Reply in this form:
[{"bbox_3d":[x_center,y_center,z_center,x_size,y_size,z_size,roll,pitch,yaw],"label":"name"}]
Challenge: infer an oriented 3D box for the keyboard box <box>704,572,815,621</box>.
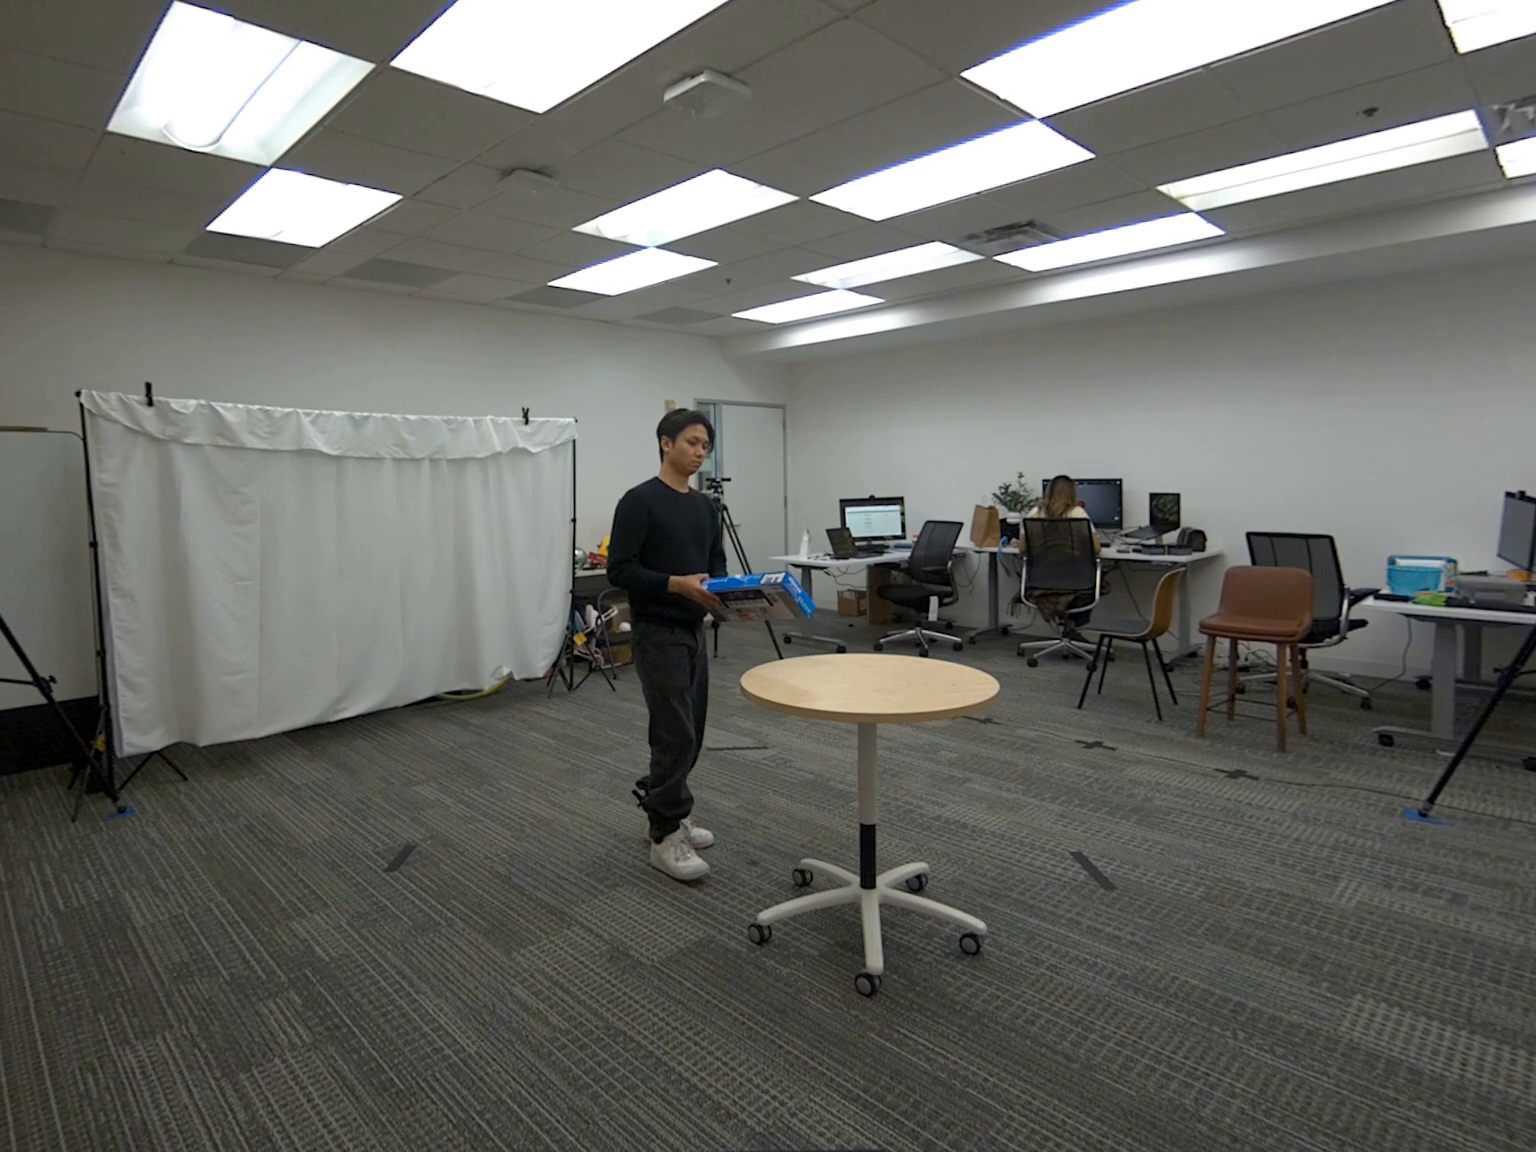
[{"bbox_3d":[-0.041,0.079,2.922,0.447,0.059,0.171,-9,-49,48],"label":"keyboard box"}]
